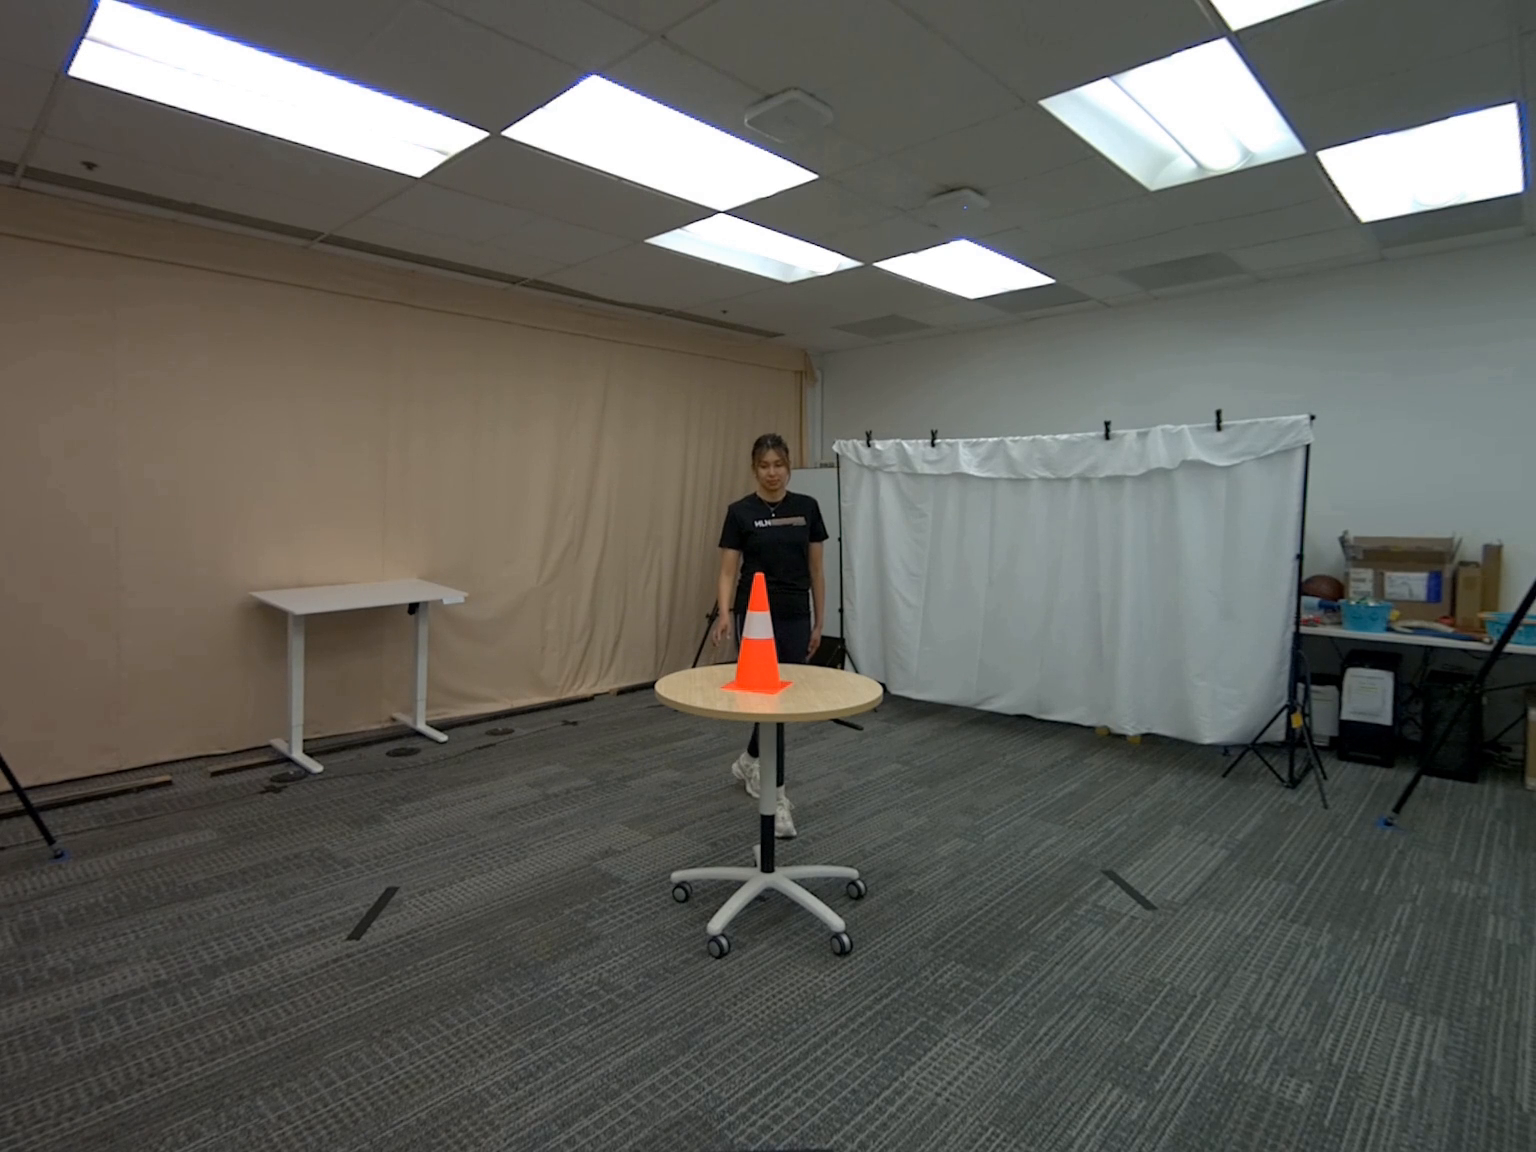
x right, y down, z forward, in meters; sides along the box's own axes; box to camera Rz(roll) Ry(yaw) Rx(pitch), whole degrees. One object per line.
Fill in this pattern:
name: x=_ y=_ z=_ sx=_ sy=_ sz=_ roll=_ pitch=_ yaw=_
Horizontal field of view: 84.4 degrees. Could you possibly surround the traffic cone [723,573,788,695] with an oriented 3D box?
traffic cone: x=-0.031 y=0.187 z=2.841 sx=0.208 sy=0.383 sz=0.201 roll=1 pitch=4 yaw=21
